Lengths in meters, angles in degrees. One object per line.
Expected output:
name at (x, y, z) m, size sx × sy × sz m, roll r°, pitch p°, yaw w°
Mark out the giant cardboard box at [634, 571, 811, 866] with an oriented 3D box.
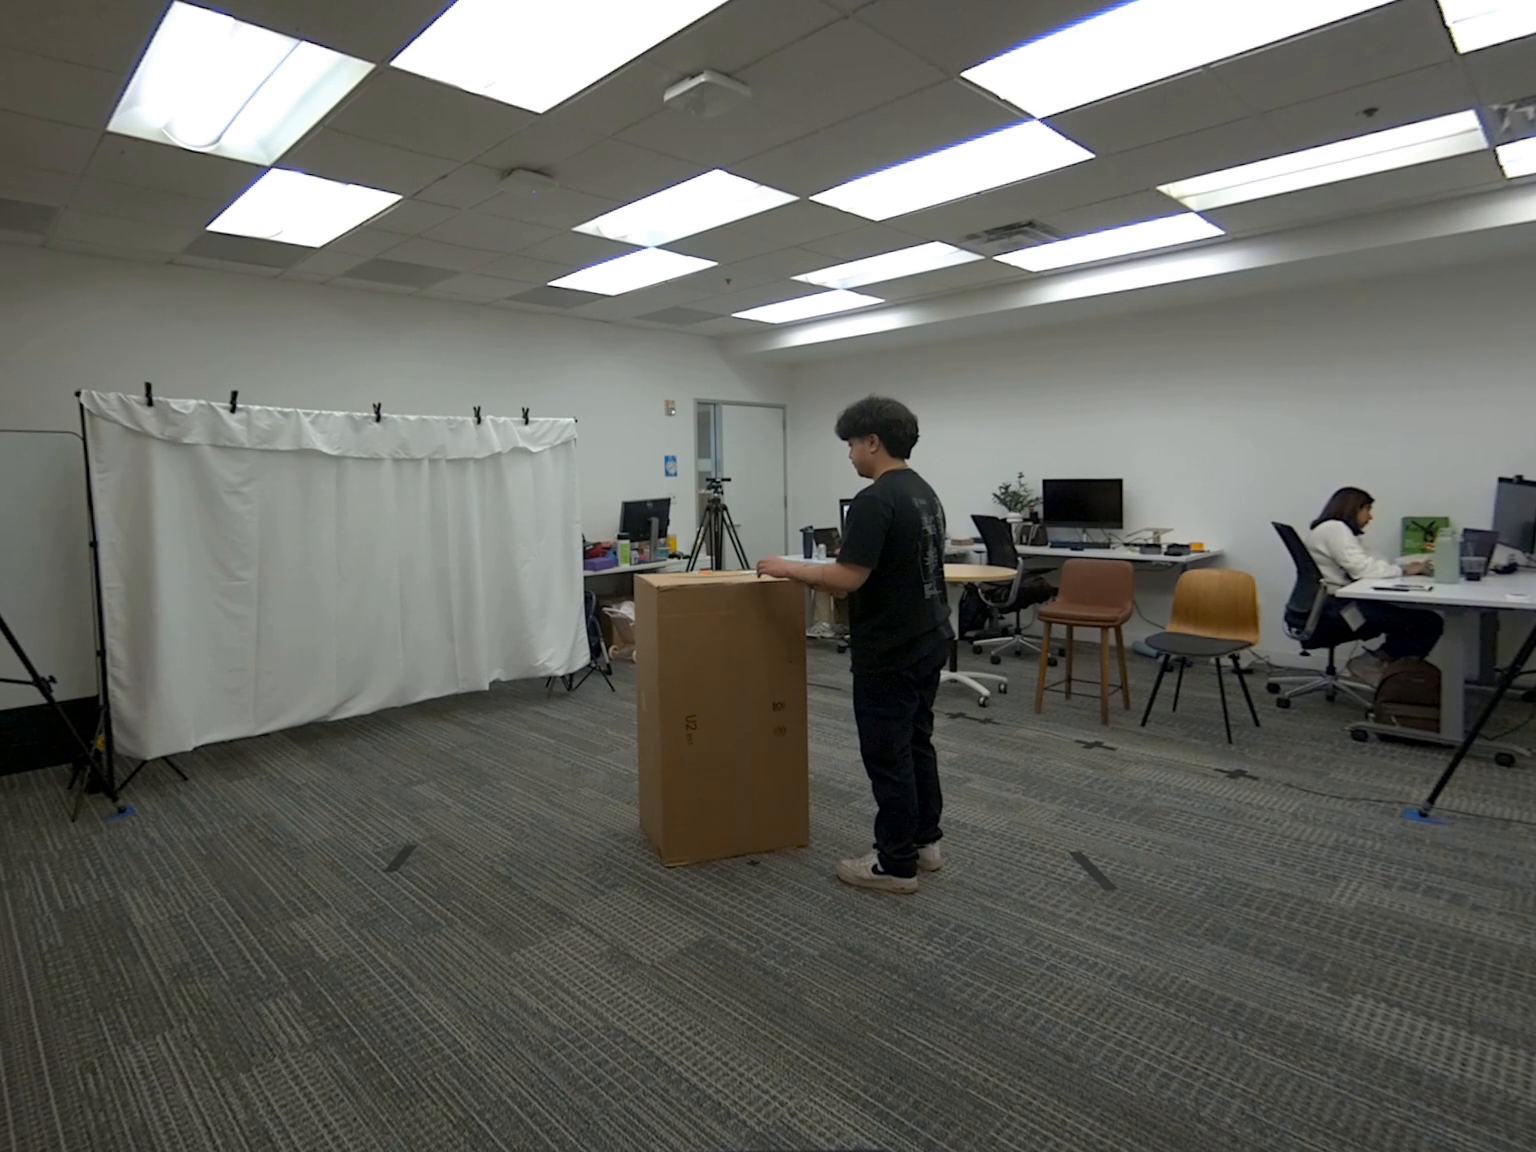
giant cardboard box at (-0.189, 0.506, 3.332) m, size 0.575 × 1.024 × 0.455 m, roll -2°, pitch 4°, yaw -18°
